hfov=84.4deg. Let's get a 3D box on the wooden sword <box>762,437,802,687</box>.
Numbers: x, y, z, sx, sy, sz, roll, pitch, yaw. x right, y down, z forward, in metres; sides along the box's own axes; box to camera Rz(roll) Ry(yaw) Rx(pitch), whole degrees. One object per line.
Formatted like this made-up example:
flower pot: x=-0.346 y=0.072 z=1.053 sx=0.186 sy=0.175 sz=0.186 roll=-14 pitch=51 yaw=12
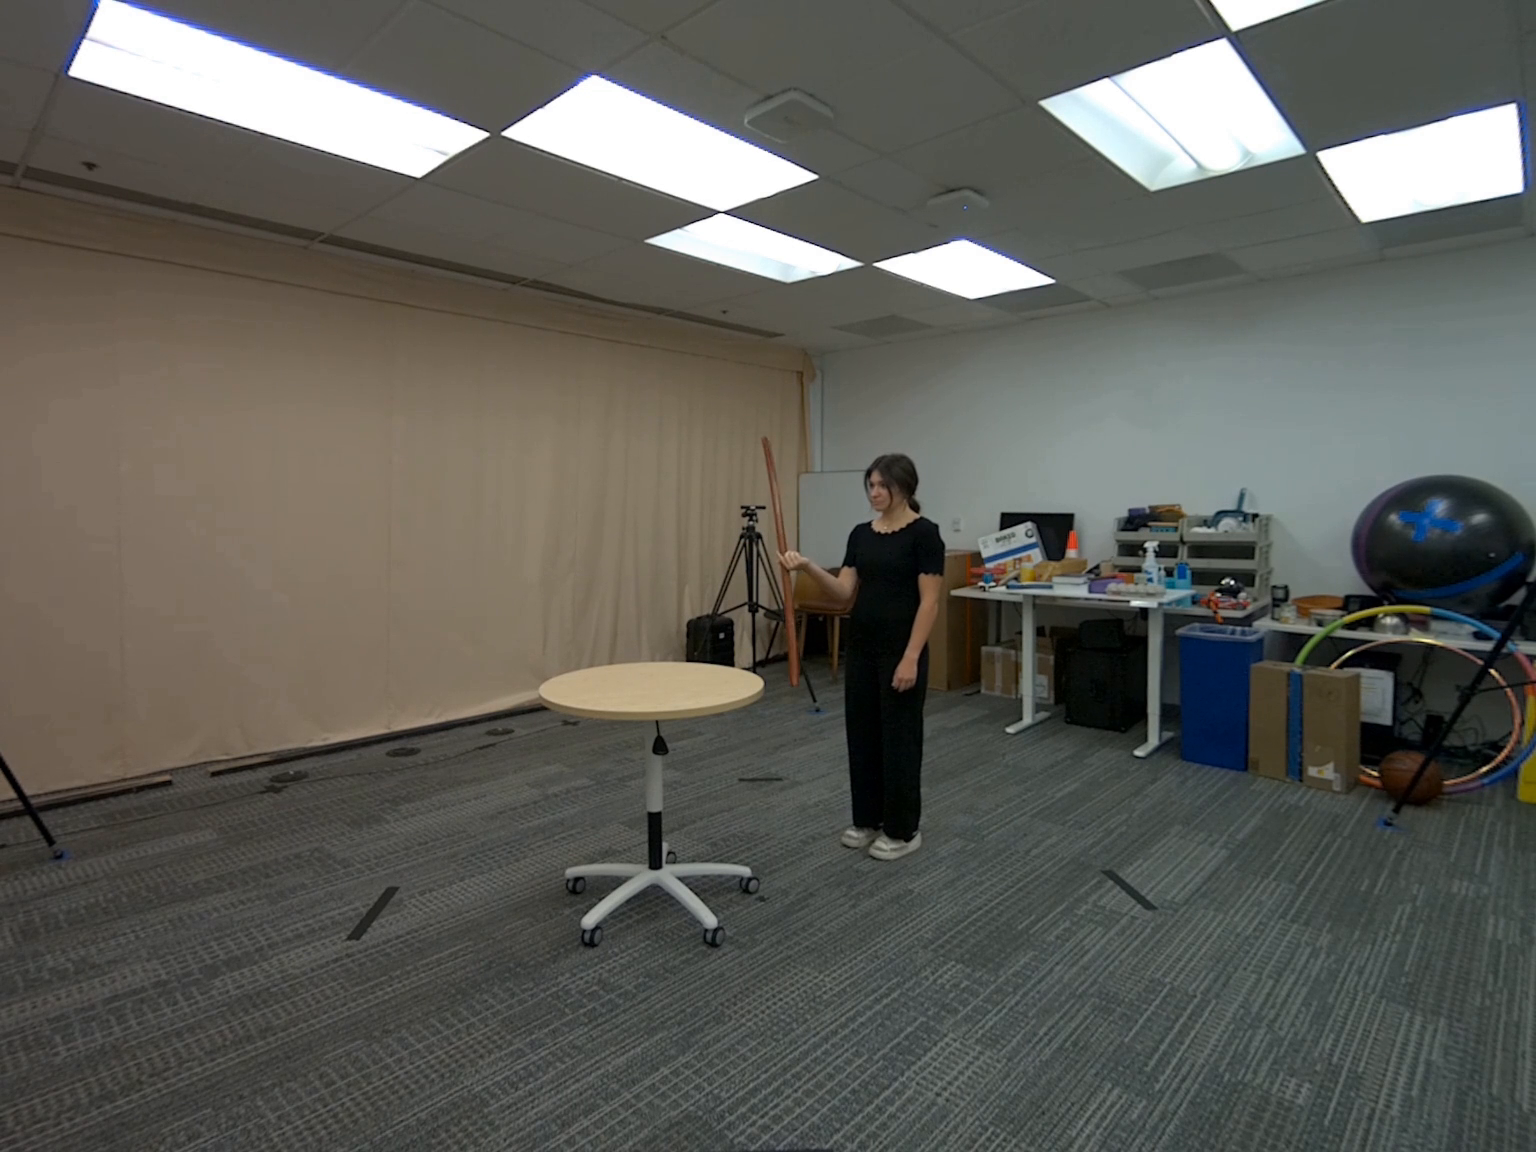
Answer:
wooden sword: x=0.062 y=-0.085 z=3.311 sx=0.024 sy=1.036 sz=0.050 roll=-10 pitch=-15 yaw=11
